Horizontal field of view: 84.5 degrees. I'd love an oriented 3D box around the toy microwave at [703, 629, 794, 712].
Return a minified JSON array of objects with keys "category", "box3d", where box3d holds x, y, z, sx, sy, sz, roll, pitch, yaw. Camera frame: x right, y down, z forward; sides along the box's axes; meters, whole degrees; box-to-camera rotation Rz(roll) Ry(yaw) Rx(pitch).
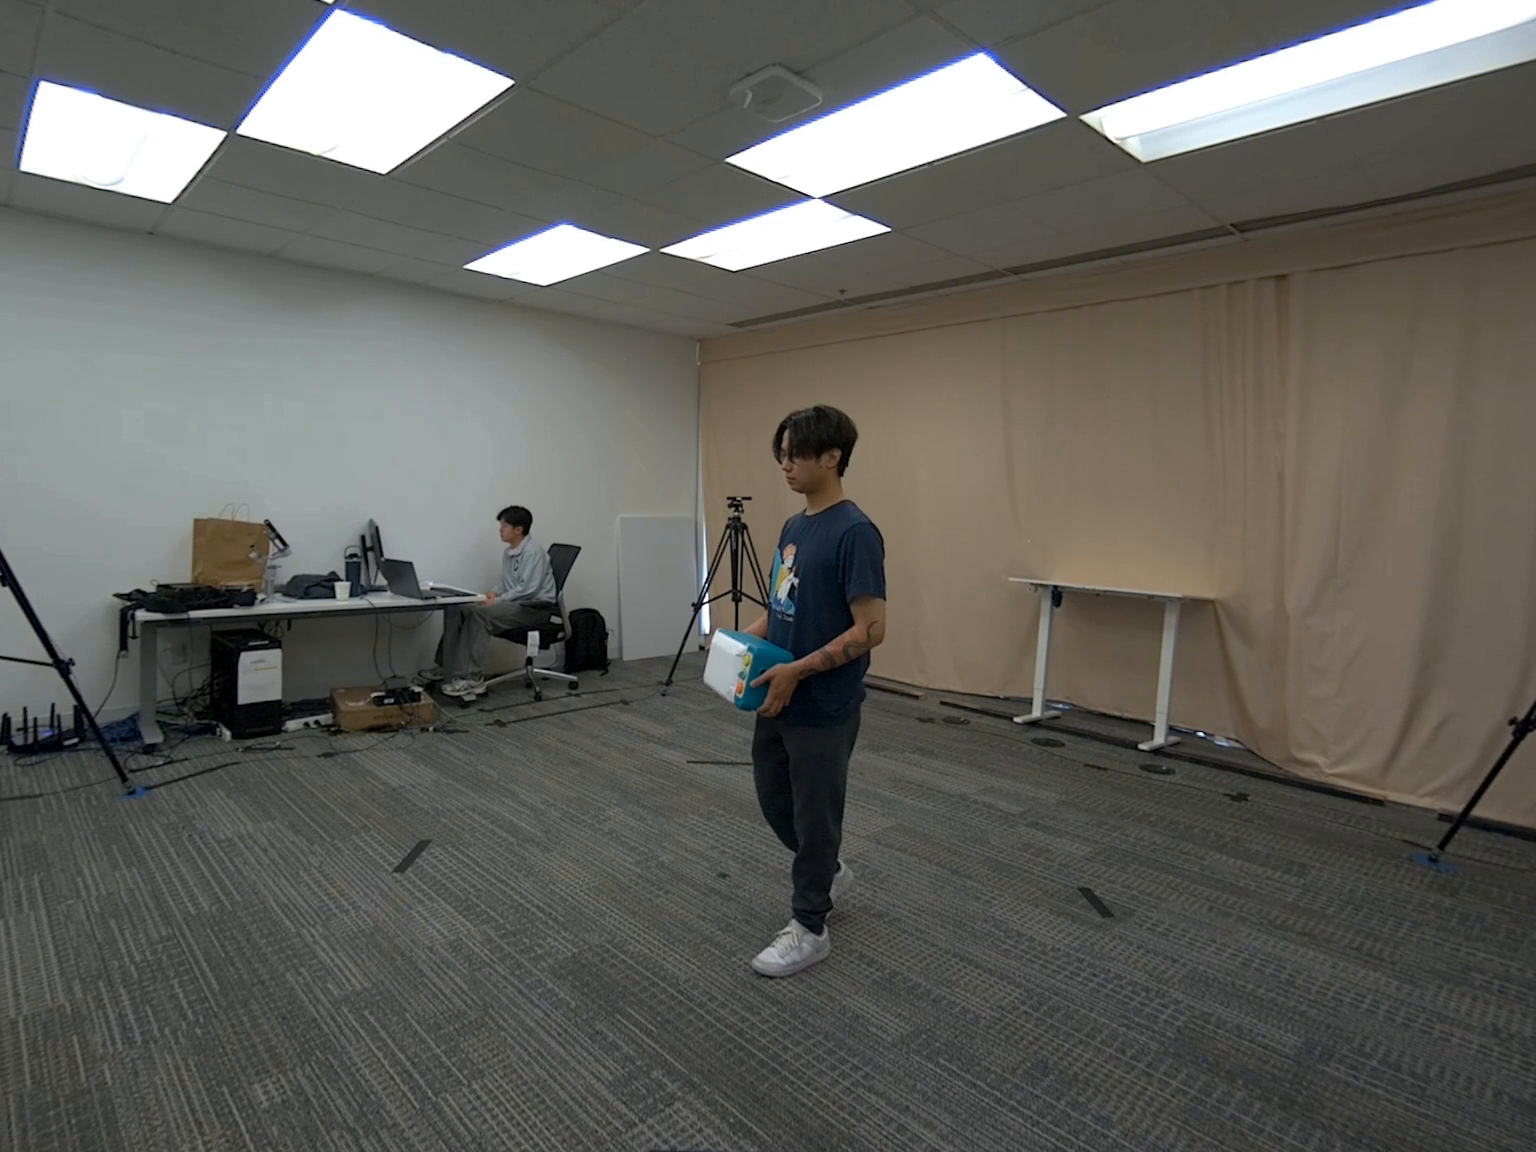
[{"category":"toy microwave","box3d":[-0.081,0.264,2.436,0.149,0.184,0.293,14,2,-27]}]
